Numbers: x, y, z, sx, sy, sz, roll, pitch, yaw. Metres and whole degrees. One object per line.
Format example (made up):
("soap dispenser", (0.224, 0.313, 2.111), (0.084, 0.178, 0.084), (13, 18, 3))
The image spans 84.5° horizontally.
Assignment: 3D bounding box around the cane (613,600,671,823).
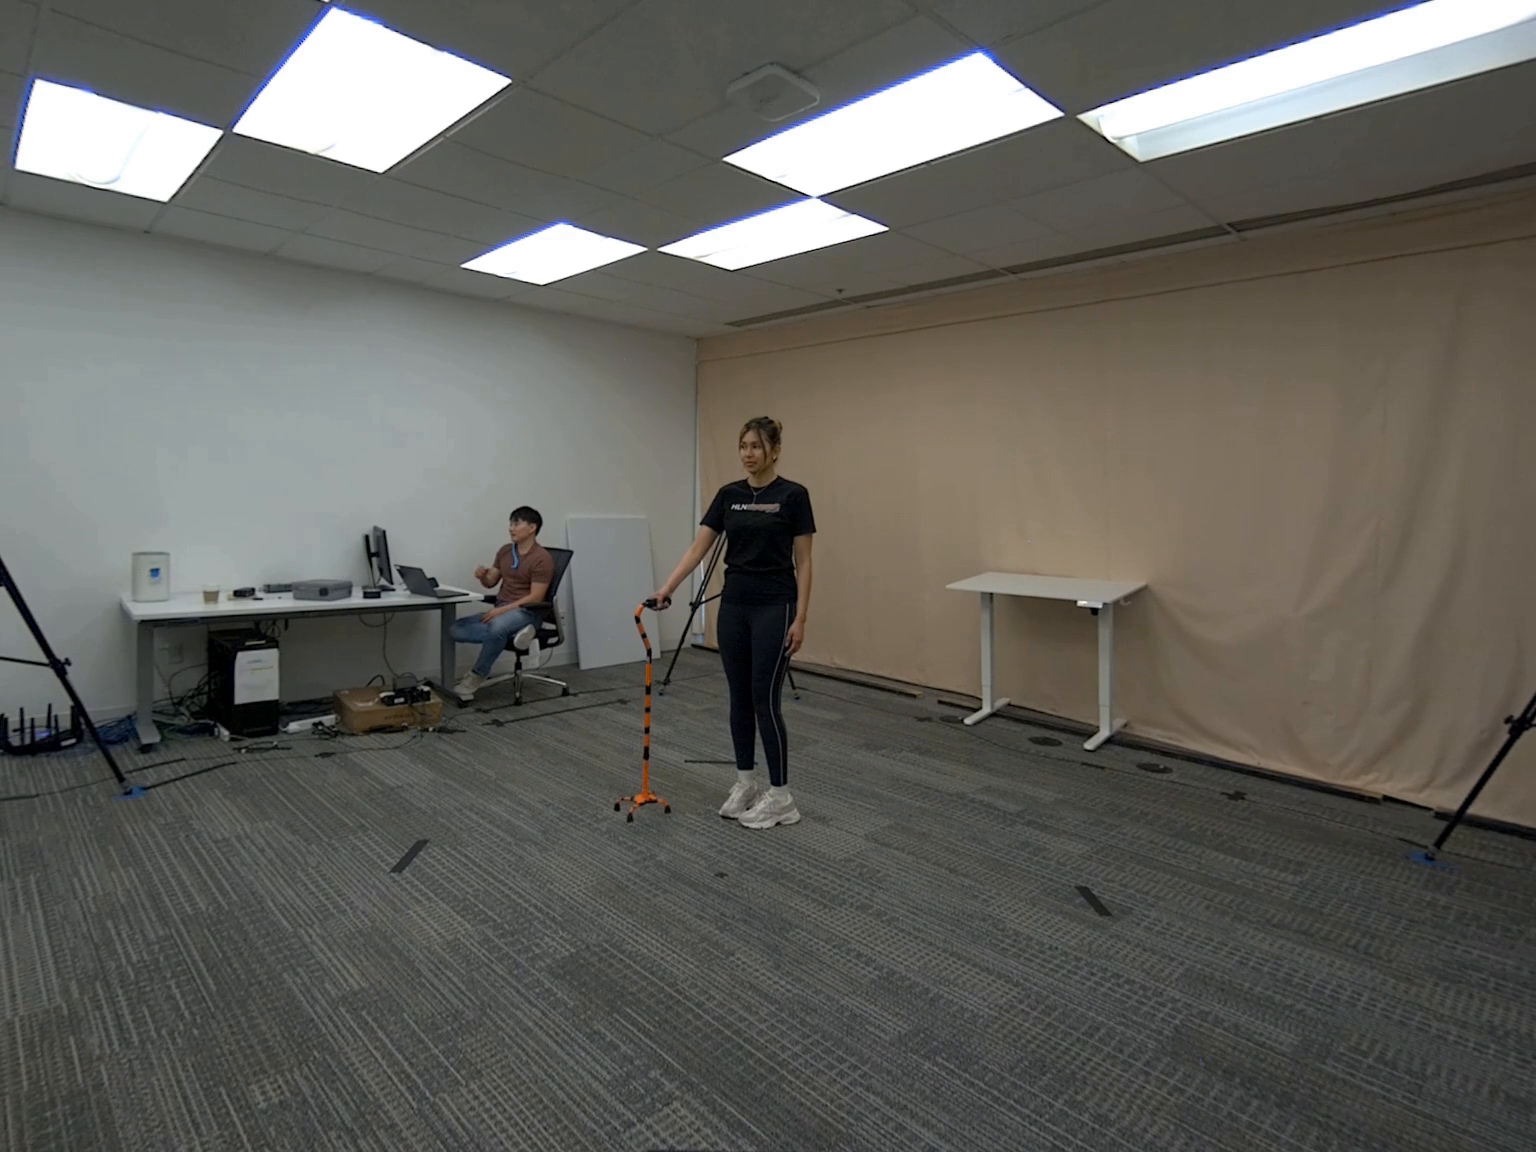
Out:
("cane", (-0.517, 0.546, 3.504), (0.202, 0.904, 0.155), (-2, 7, -33))
